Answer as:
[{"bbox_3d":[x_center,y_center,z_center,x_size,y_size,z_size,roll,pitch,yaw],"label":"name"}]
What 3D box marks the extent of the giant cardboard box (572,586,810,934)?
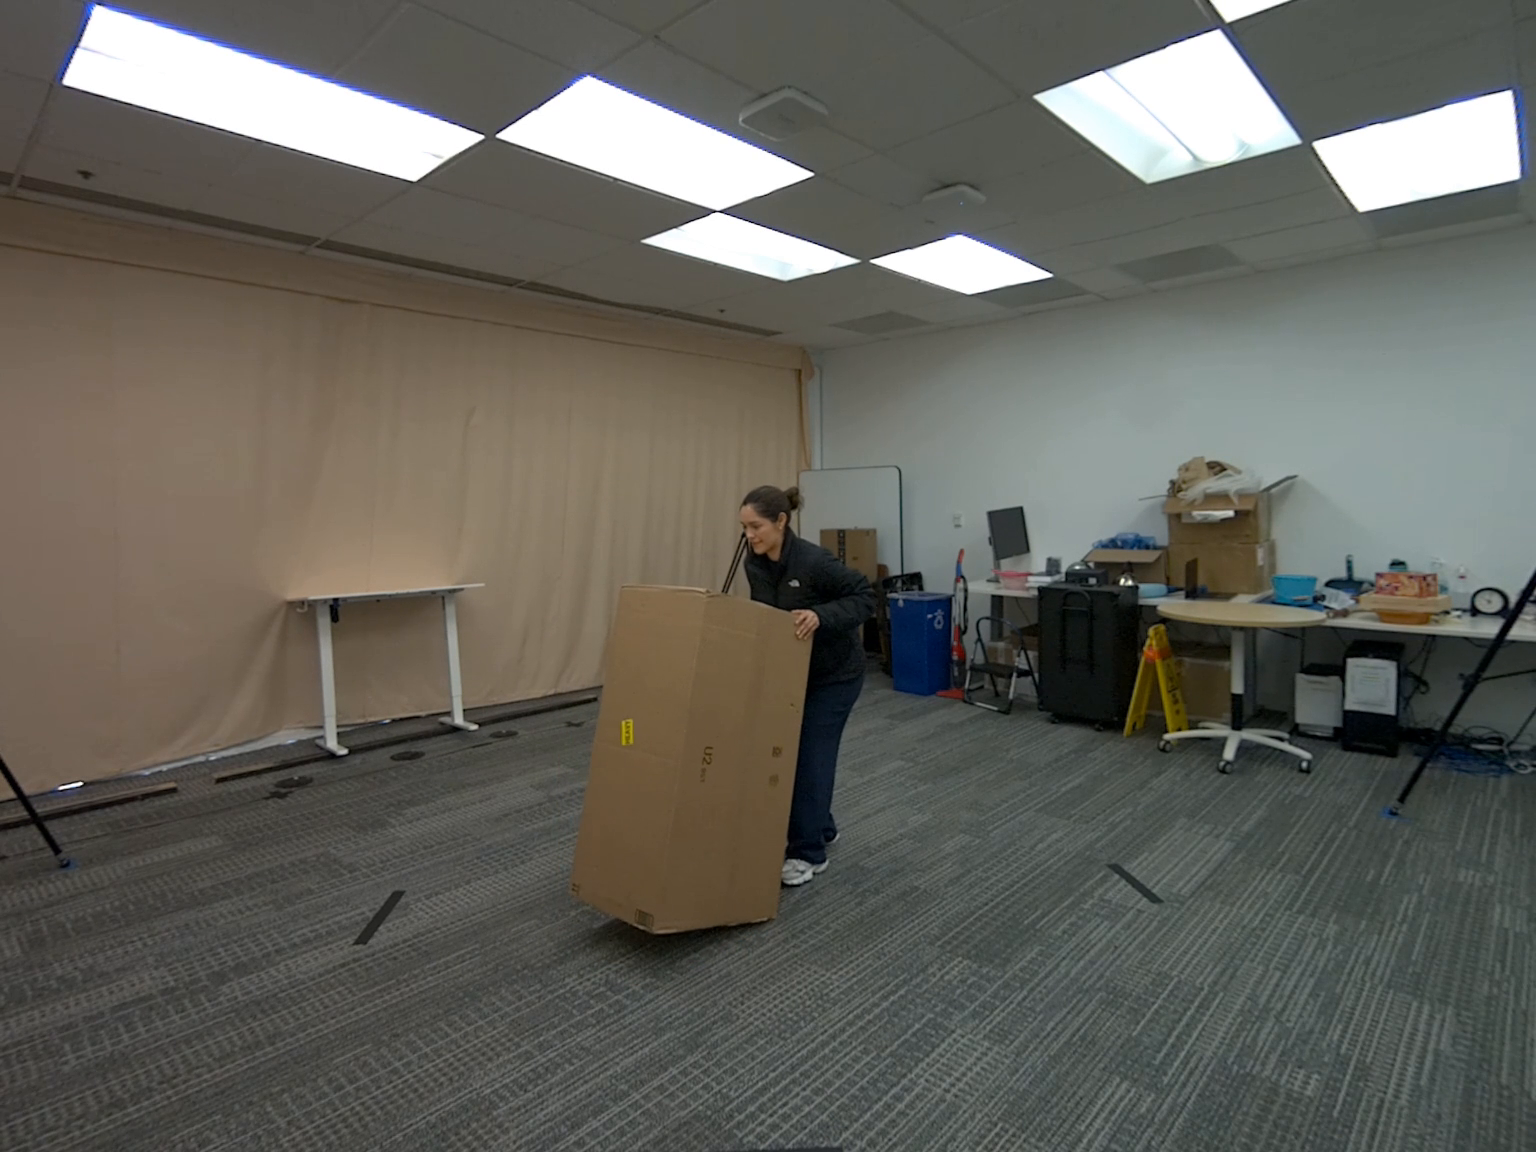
[{"bbox_3d":[-0.230,0.591,2.864,0.461,1.031,0.563,-1,-13,43],"label":"giant cardboard box"}]
